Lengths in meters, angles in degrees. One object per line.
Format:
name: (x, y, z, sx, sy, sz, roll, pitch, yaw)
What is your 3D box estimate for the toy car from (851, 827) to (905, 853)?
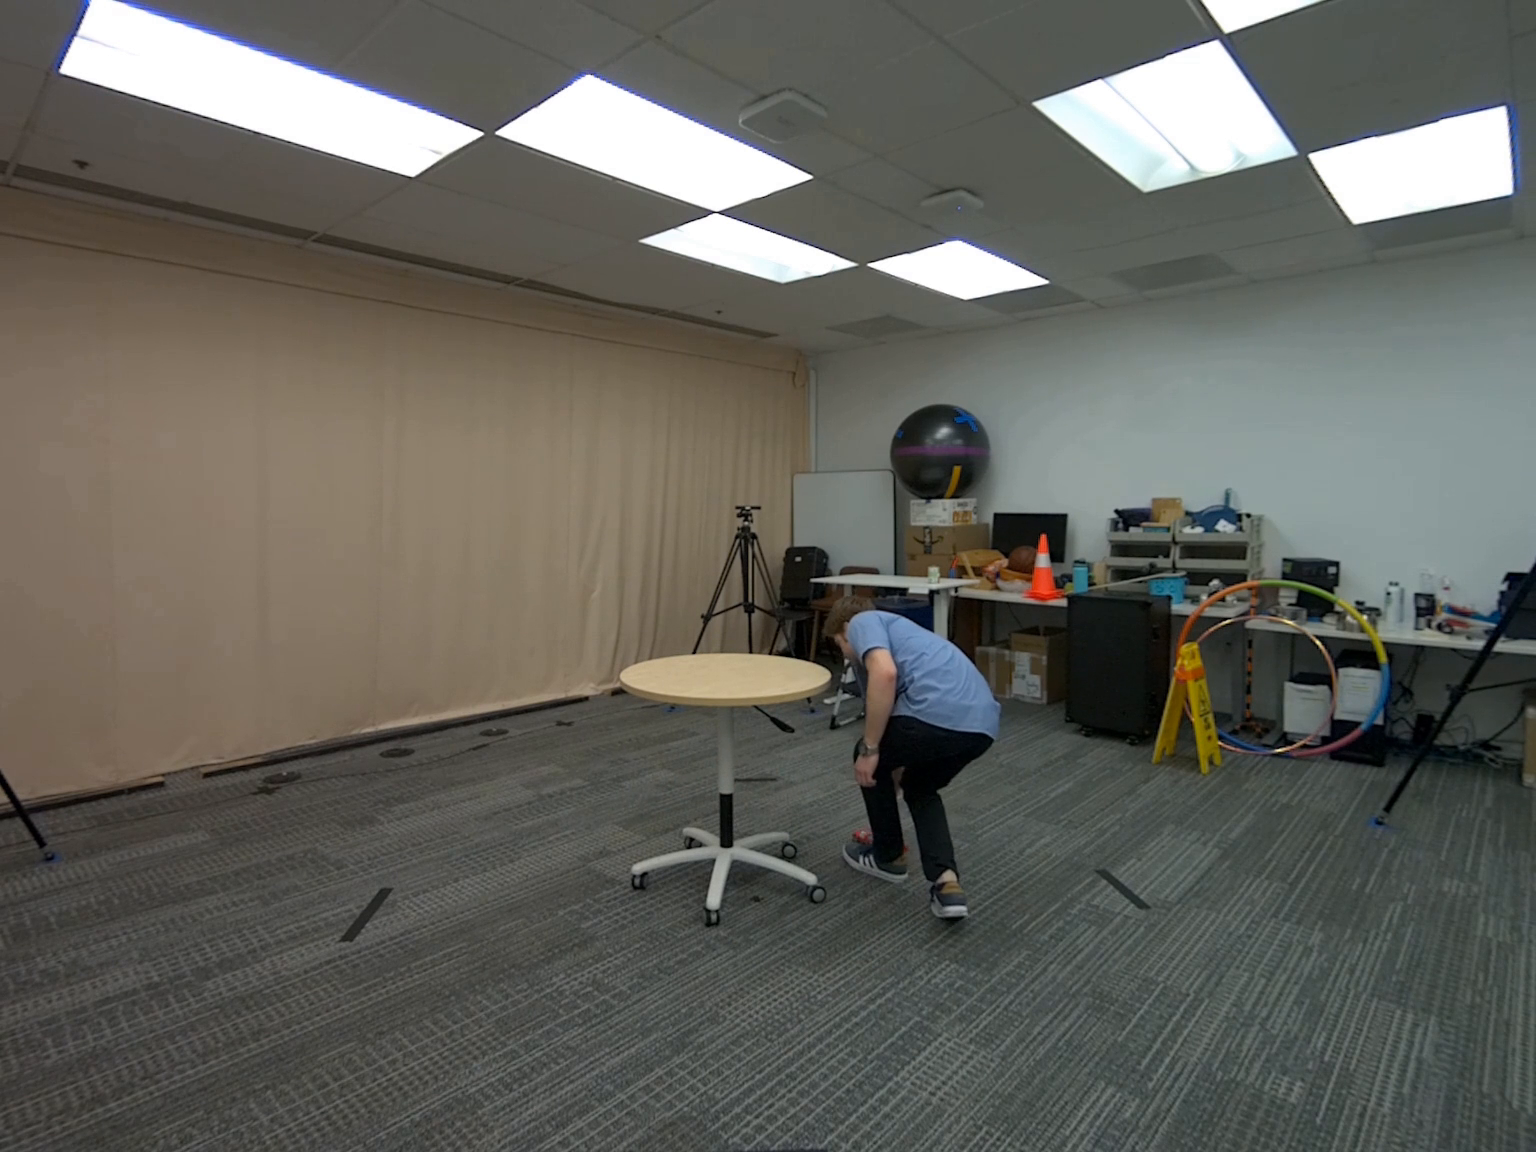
toy car: (0.456, 1.077, 3.394, 0.127, 0.083, 0.261, -2, -5, -32)
